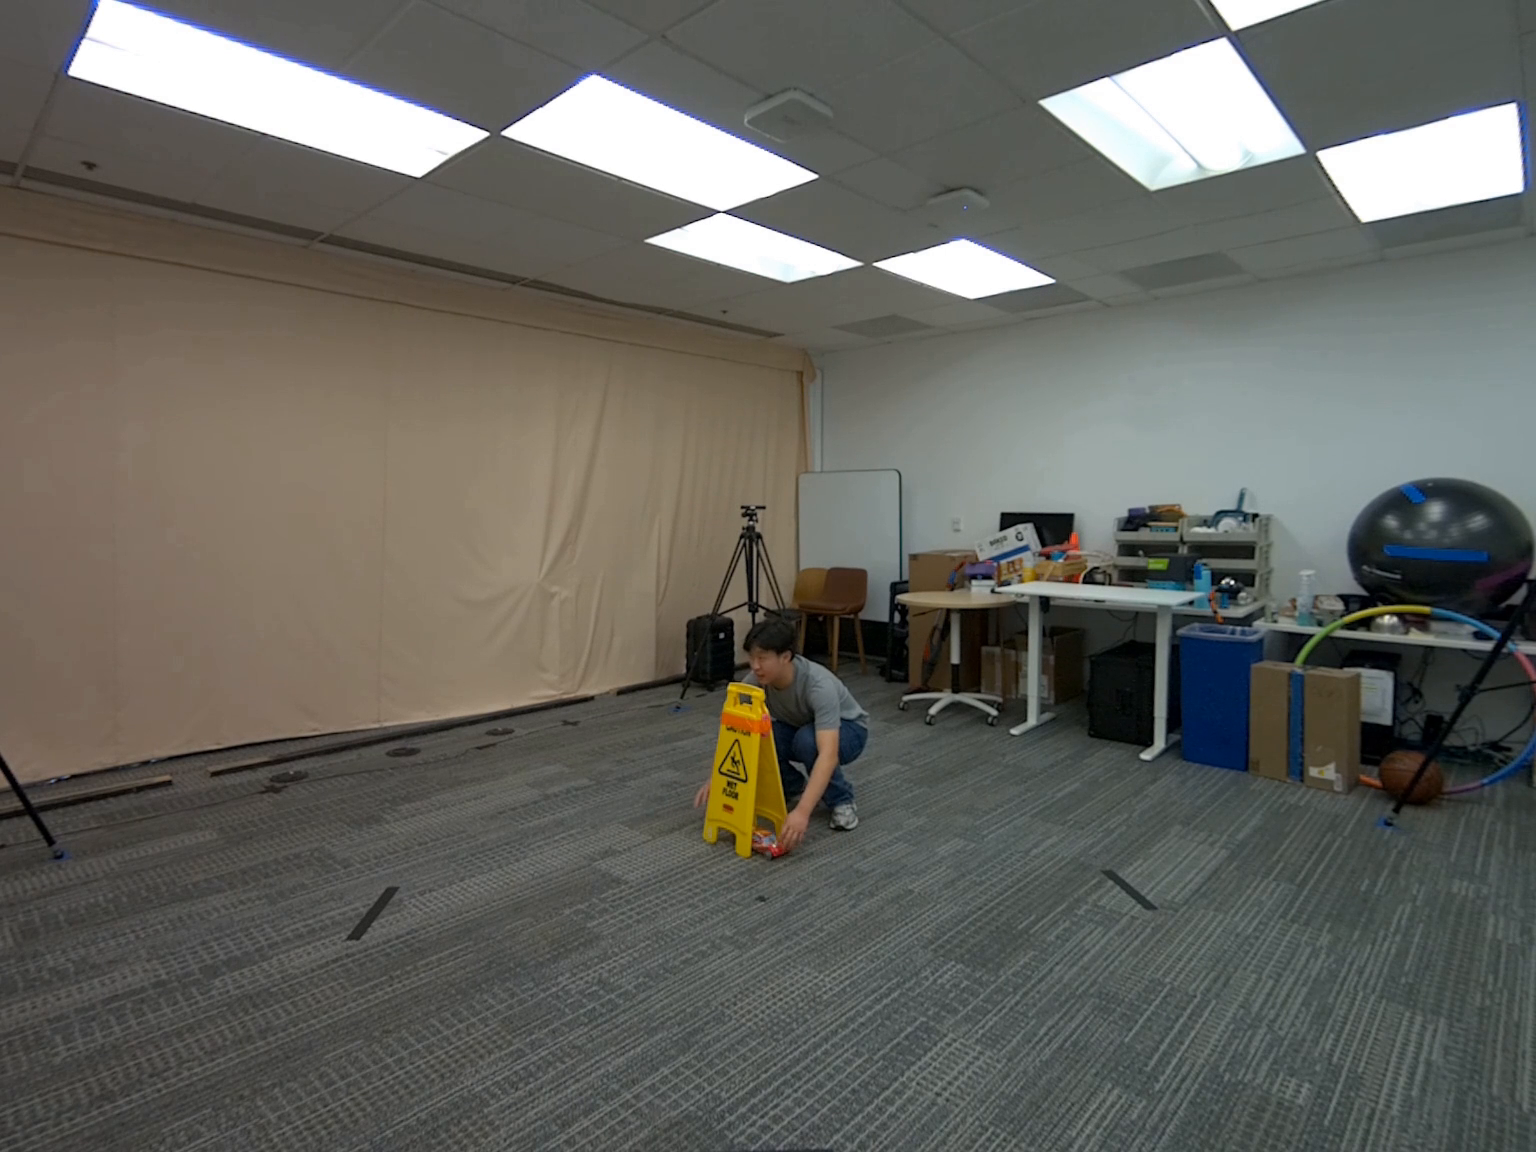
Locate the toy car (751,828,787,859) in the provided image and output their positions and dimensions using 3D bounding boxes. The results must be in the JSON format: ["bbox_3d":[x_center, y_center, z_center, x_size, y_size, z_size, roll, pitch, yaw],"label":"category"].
[{"bbox_3d":[-0.037,1.072,3.426,0.126,0.083,0.264,-5,18,-42],"label":"toy car"}]
